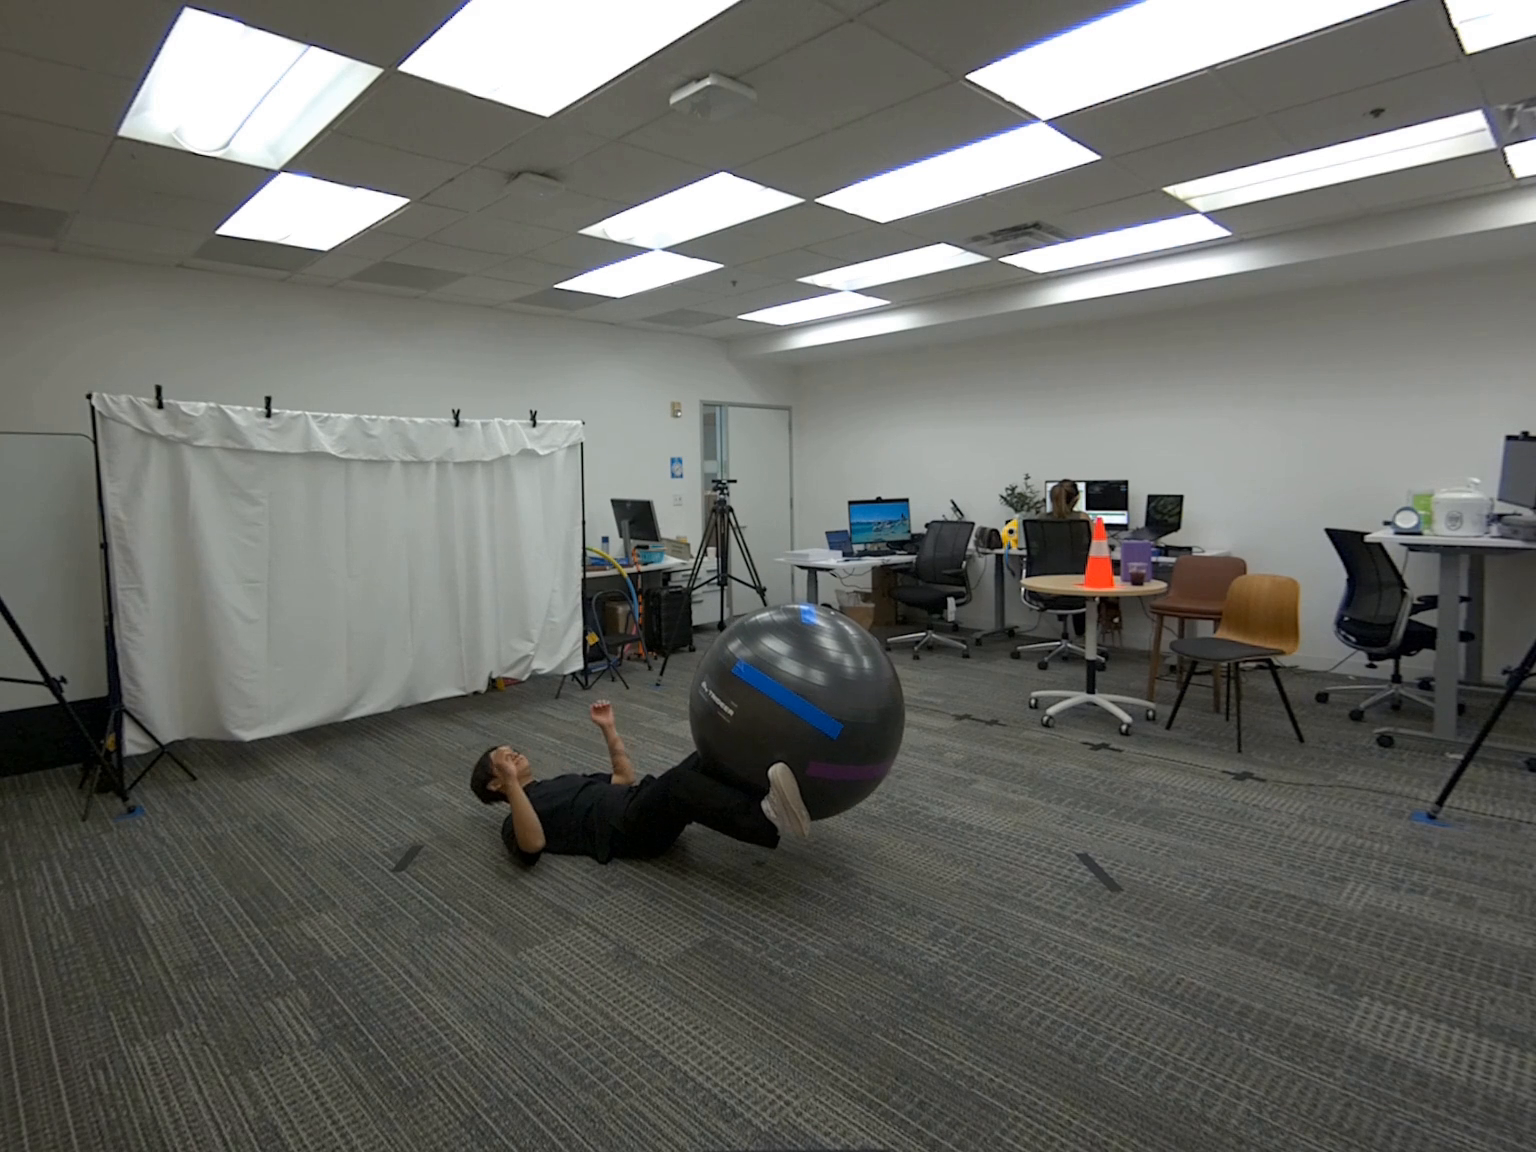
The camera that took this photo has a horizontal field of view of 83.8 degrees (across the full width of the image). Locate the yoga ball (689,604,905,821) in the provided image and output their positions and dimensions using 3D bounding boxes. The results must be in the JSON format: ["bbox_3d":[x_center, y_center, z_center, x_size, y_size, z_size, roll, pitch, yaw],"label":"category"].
[{"bbox_3d":[0.099,0.483,3.046,0.757,0.755,0.762,-1,5,-2],"label":"yoga ball"}]
